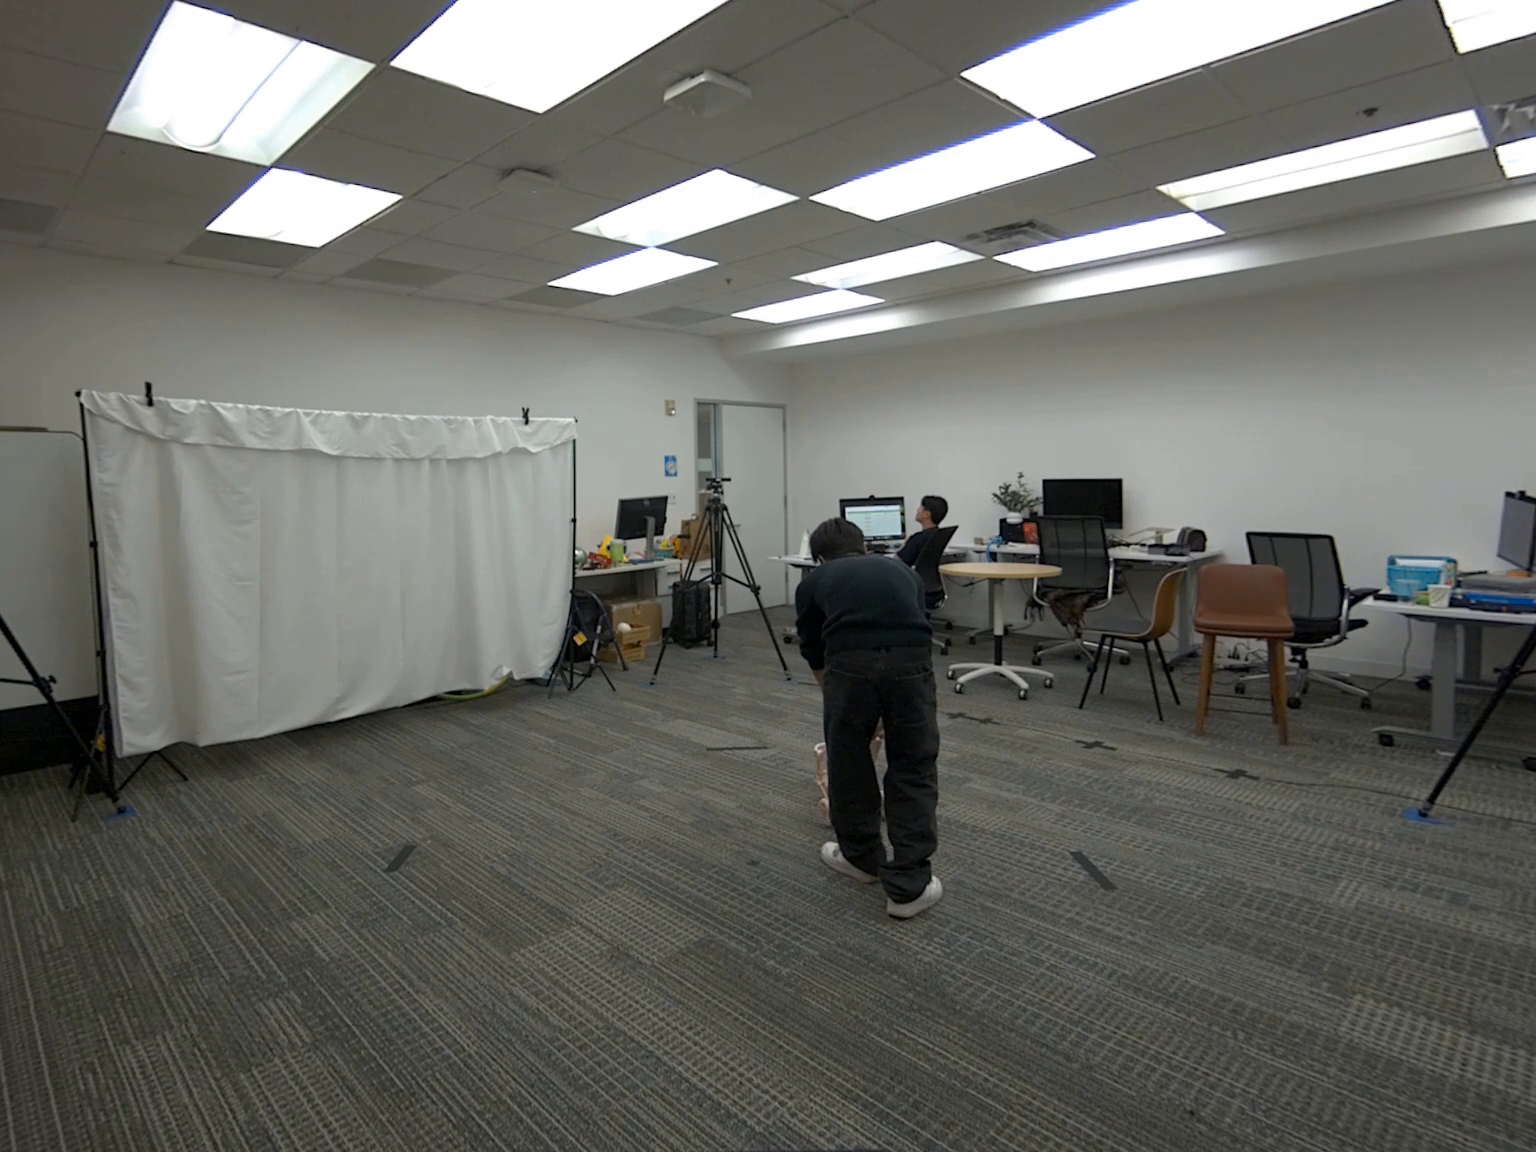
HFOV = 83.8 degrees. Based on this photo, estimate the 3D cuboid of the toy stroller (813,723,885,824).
[{"bbox_3d":[0.338,0.767,3.504,0.278,0.526,0.351,-1,21,-15],"label":"toy stroller"}]
